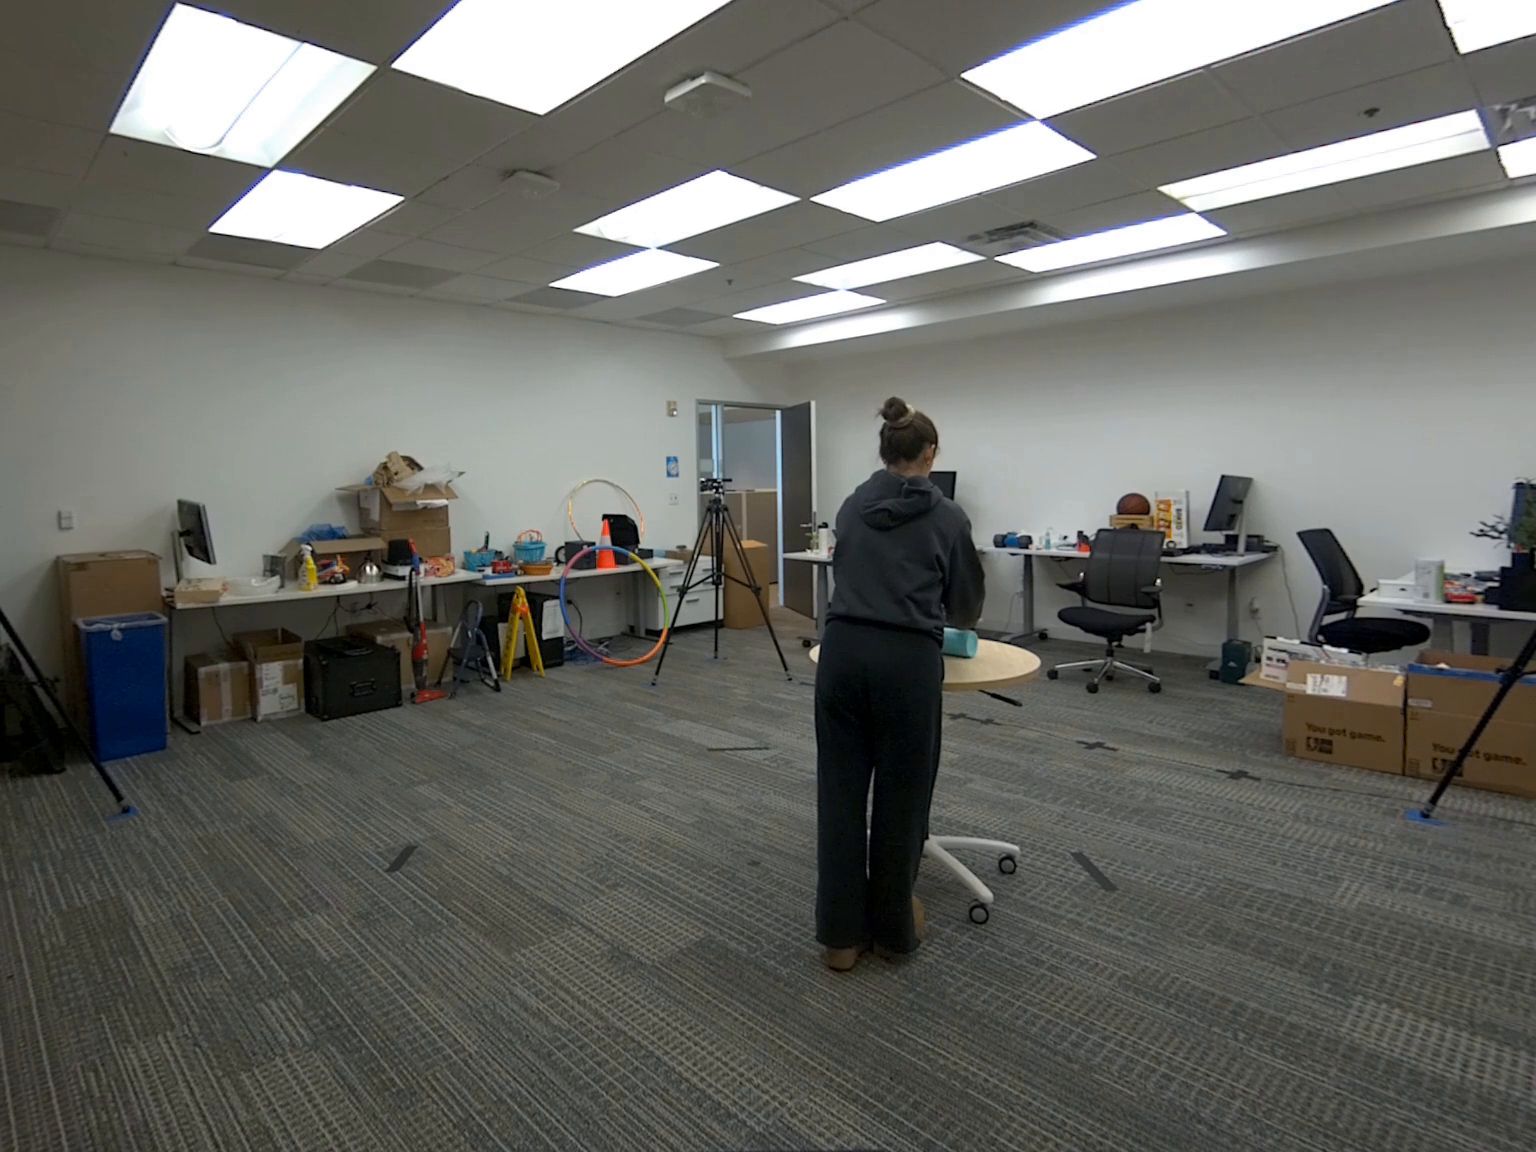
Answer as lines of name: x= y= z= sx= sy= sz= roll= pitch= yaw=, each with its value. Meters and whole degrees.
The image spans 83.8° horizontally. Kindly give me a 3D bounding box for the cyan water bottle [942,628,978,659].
cyan water bottle: x=0.581 y=0.220 z=2.956 sx=0.292 sy=0.092 sz=0.090 roll=5 pitch=7 yaw=40
